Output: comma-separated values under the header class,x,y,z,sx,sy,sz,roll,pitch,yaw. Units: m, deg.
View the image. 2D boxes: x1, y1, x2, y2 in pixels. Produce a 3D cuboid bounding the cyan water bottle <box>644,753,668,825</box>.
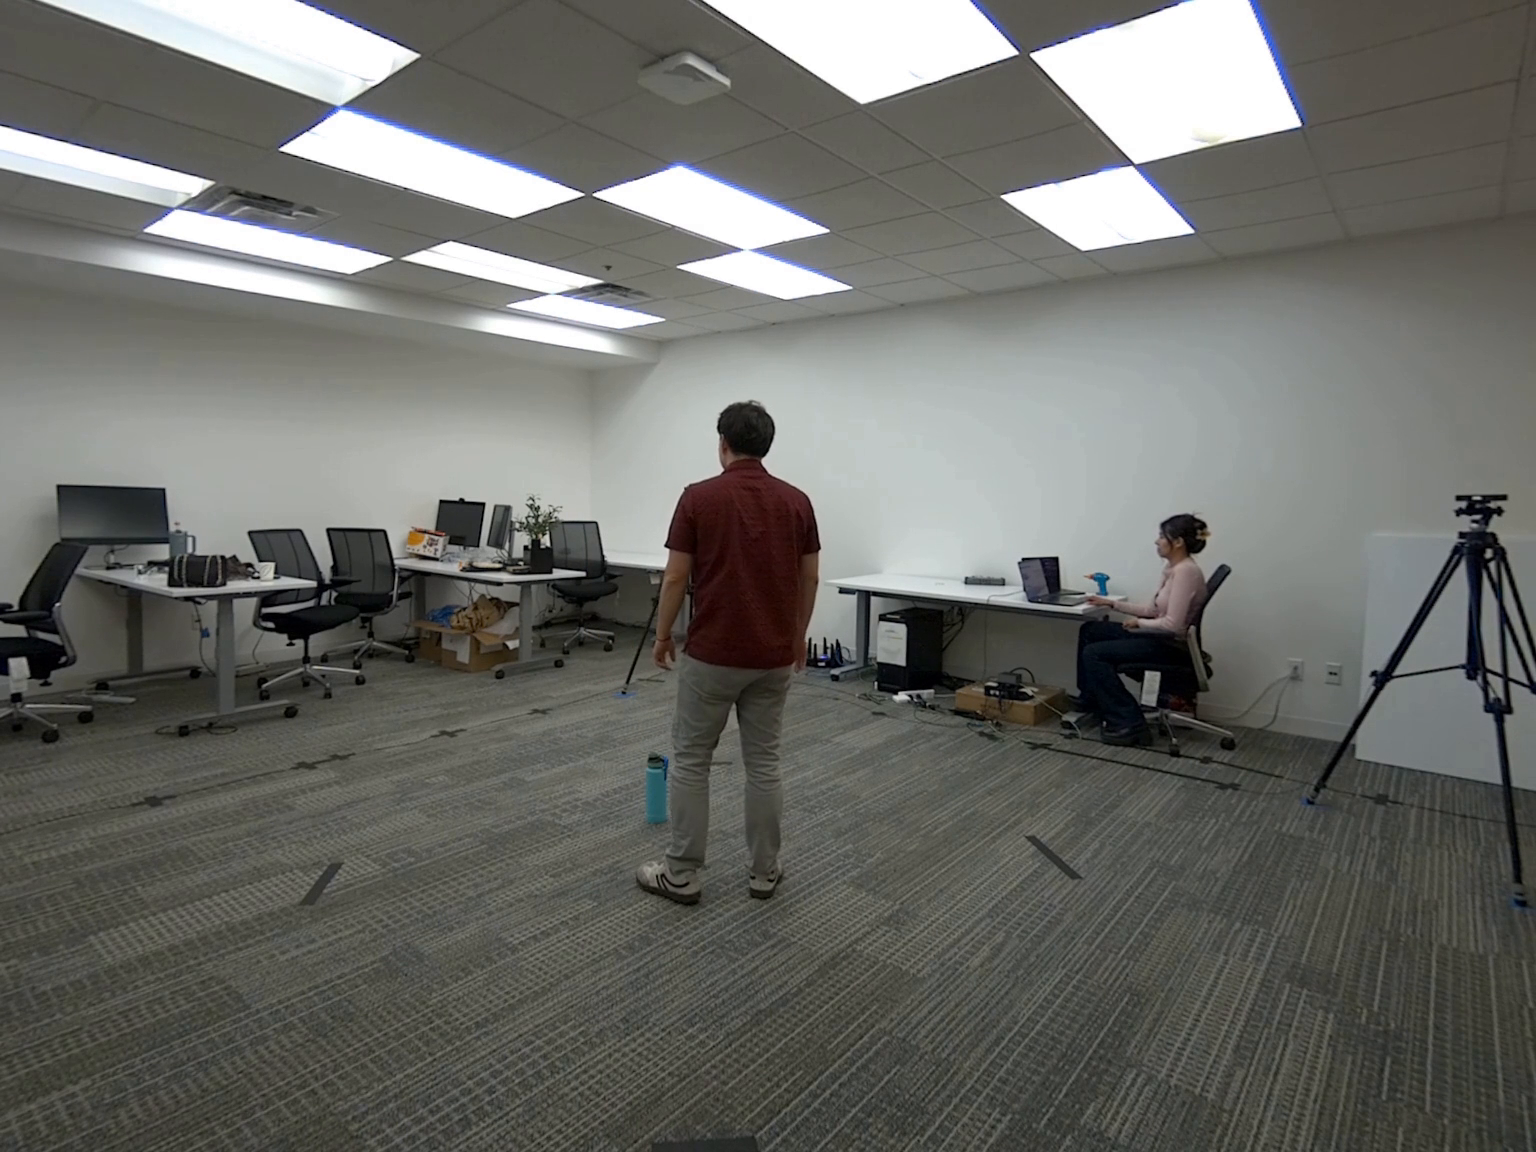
class,x,y,z,sx,sy,sz,roll,pitch,yaw
cyan water bottle,-0.481,0.878,3.554,0.092,0.282,0.093,1,4,-2
